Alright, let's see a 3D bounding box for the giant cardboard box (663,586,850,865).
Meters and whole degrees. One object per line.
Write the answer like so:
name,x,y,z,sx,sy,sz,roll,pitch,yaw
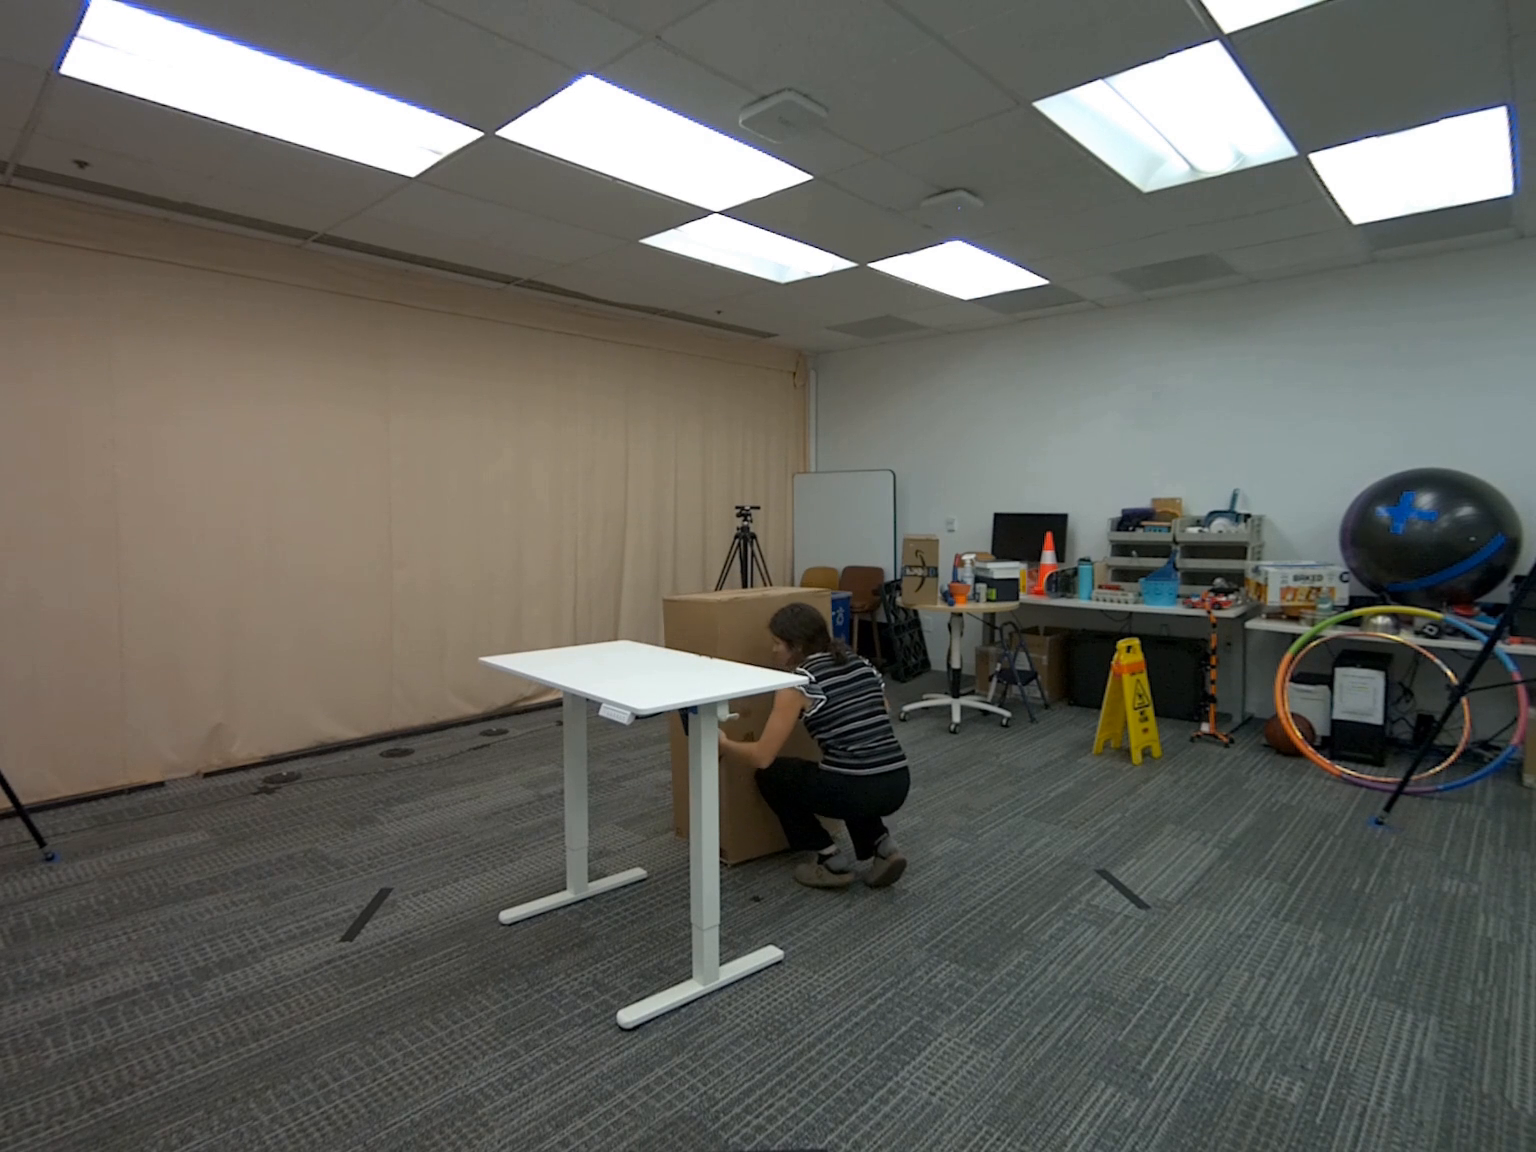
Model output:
giant cardboard box,-0.073,0.576,3.541,0.561,1.025,0.438,-3,1,-34
